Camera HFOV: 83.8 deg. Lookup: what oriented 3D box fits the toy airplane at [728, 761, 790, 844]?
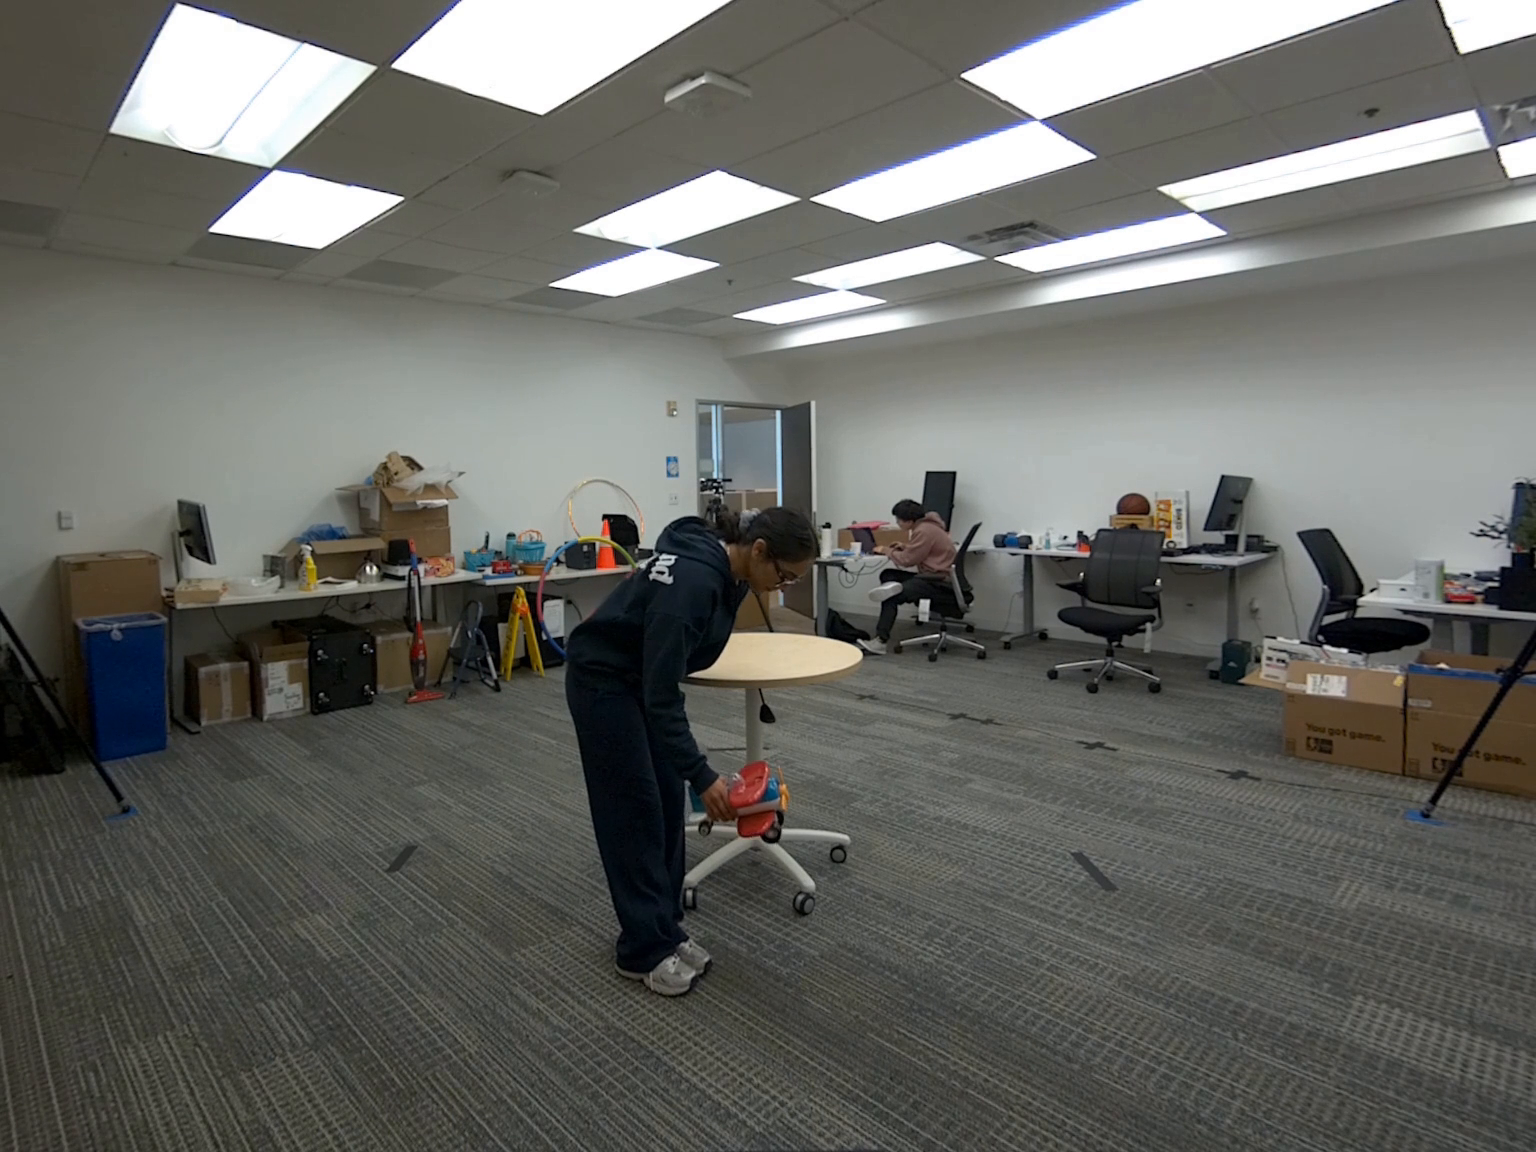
[{"bbox_3d":[-0.081,0.600,2.192,0.255,0.155,0.257,-5,9,-20],"label":"toy airplane"}]
